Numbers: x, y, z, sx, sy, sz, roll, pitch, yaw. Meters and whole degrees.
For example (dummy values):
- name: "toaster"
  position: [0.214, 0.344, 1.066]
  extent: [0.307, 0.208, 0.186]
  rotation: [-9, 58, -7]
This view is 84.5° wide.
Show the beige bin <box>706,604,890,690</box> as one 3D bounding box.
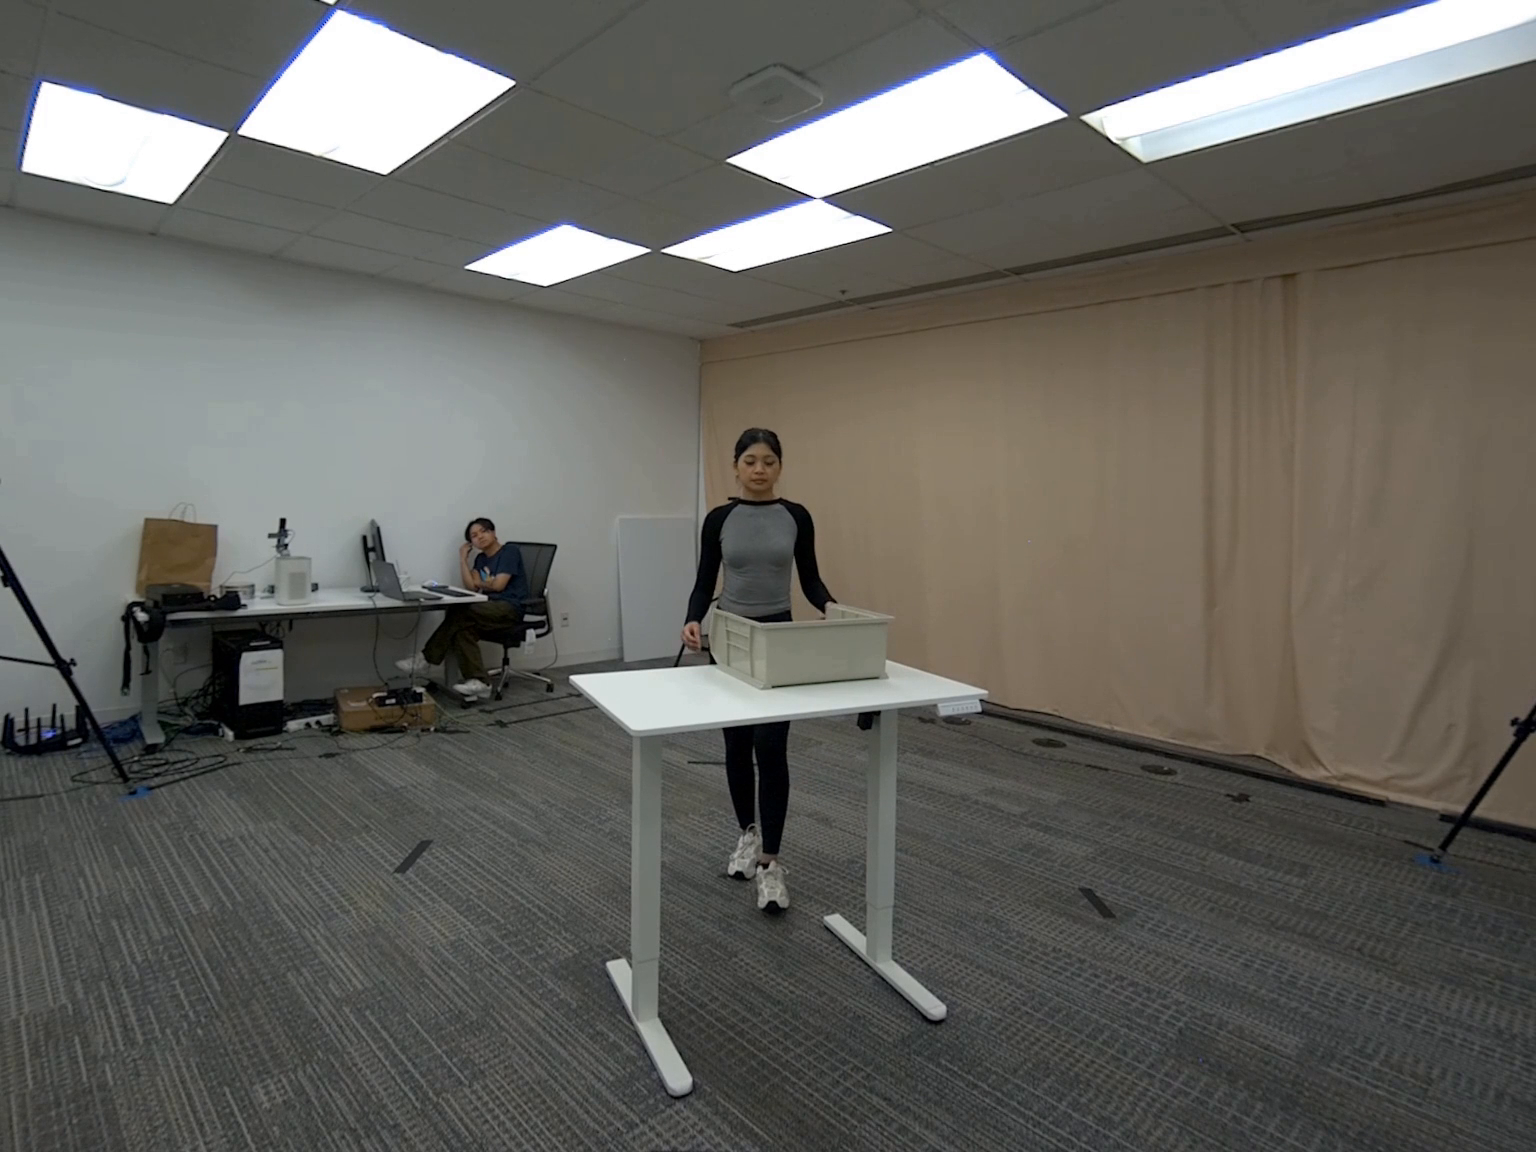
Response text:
- name: "beige bin"
  position: [0.079, 0.196, 2.493]
  extent: [0.415, 0.188, 0.385]
  rotation: [-1, 7, -25]
